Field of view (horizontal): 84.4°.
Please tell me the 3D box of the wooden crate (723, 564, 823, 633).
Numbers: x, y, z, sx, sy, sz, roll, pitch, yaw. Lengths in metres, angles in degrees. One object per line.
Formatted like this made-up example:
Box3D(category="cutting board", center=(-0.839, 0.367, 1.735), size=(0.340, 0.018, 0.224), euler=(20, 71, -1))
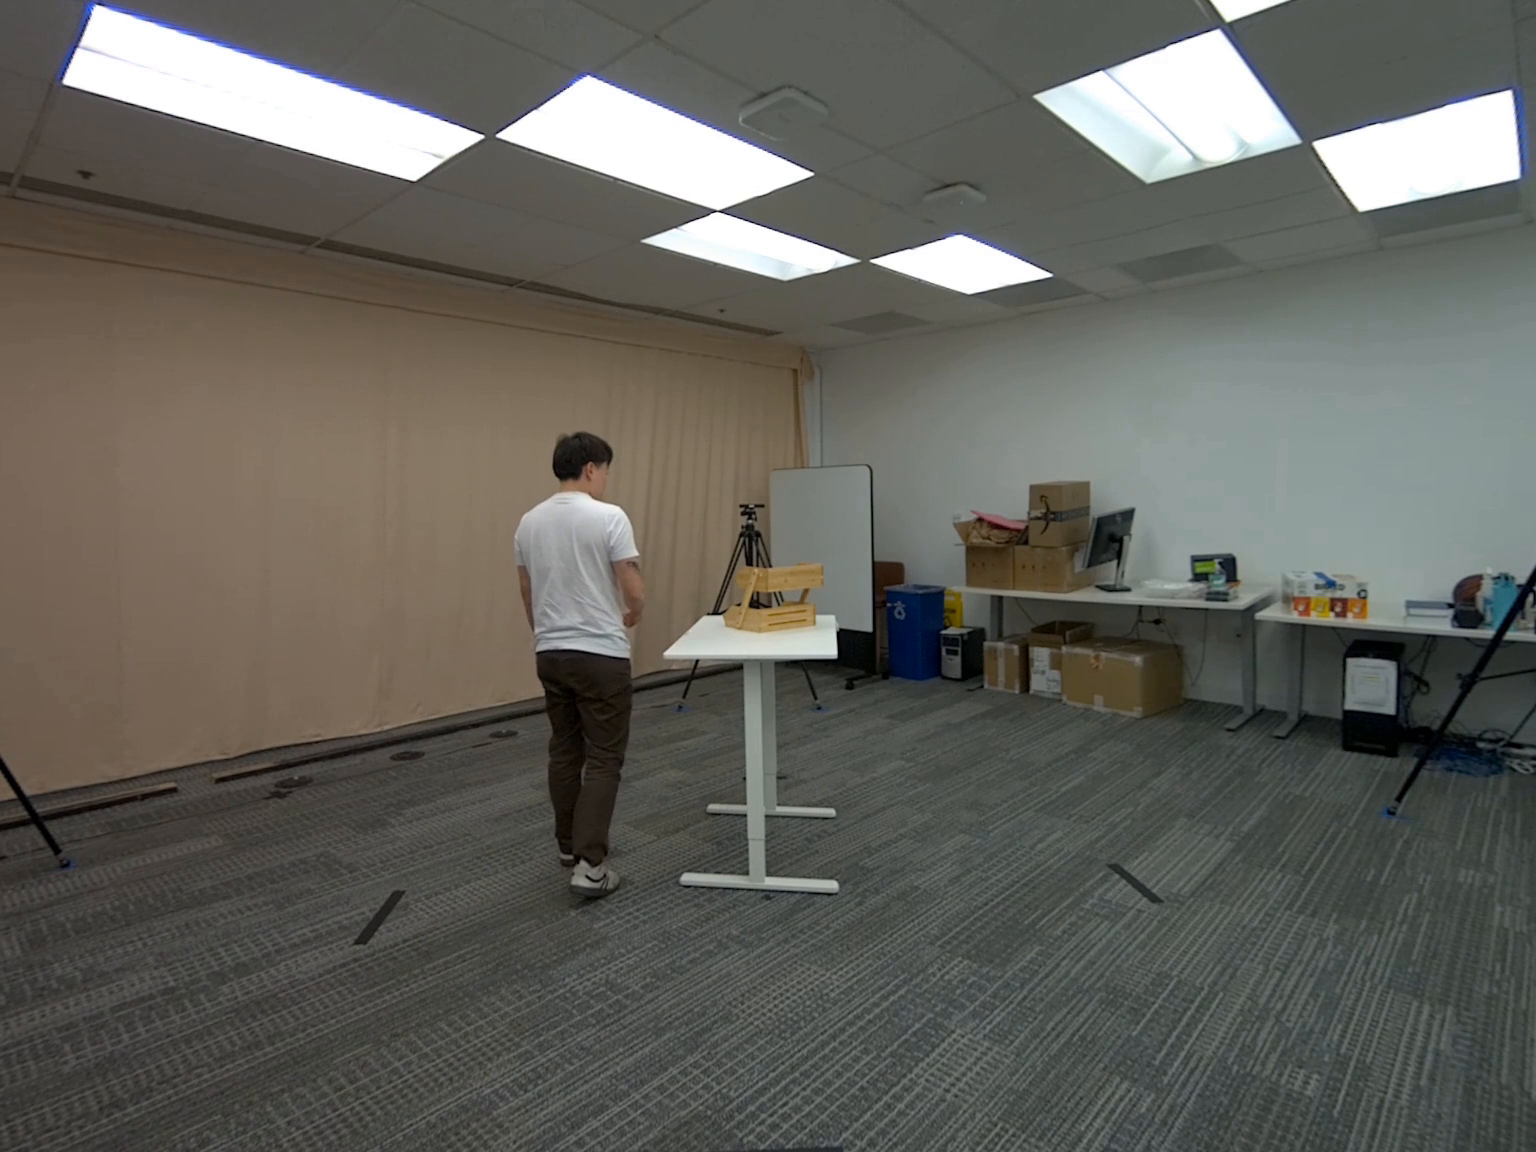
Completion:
Box3D(category="wooden crate", center=(0.021, 0.078, 3.517), size=(0.315, 0.272, 0.312), euler=(-5, 6, -36))
